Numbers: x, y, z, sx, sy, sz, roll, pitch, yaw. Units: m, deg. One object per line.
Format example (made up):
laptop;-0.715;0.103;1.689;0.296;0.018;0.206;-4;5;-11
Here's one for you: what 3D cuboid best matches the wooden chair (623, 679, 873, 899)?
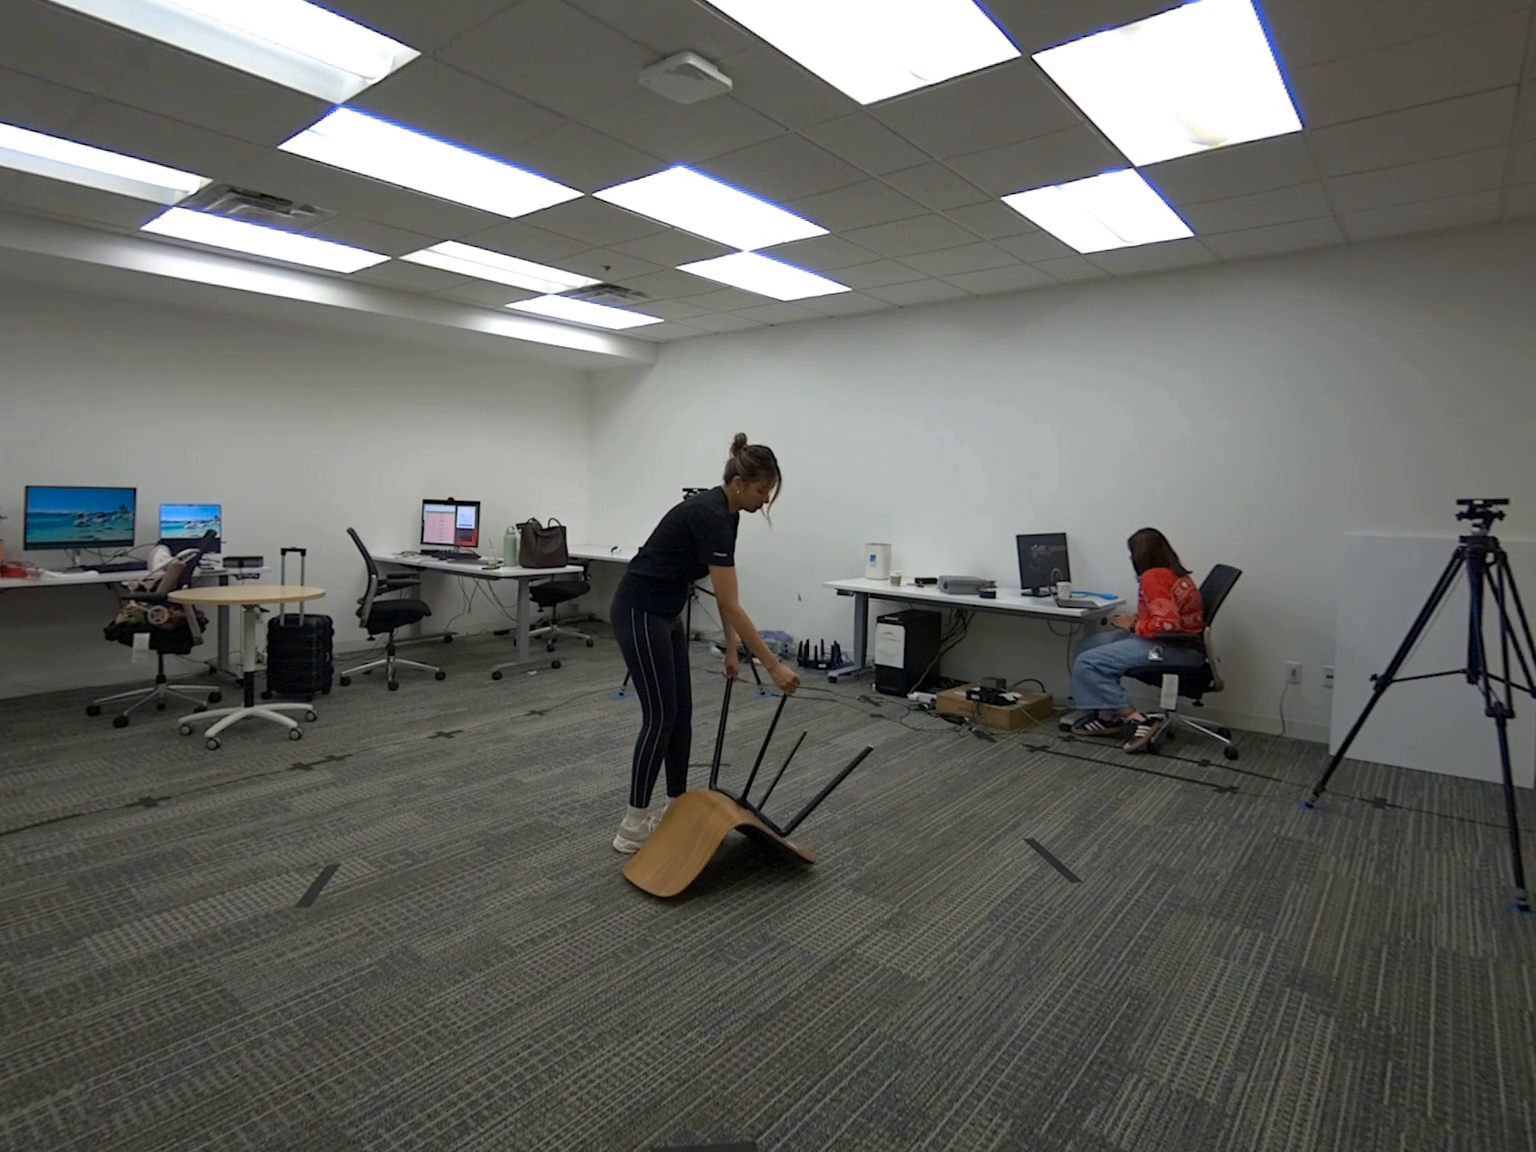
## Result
wooden chair;-0.081;0.878;3.173;0.509;0.880;0.489;42;-22;-21
